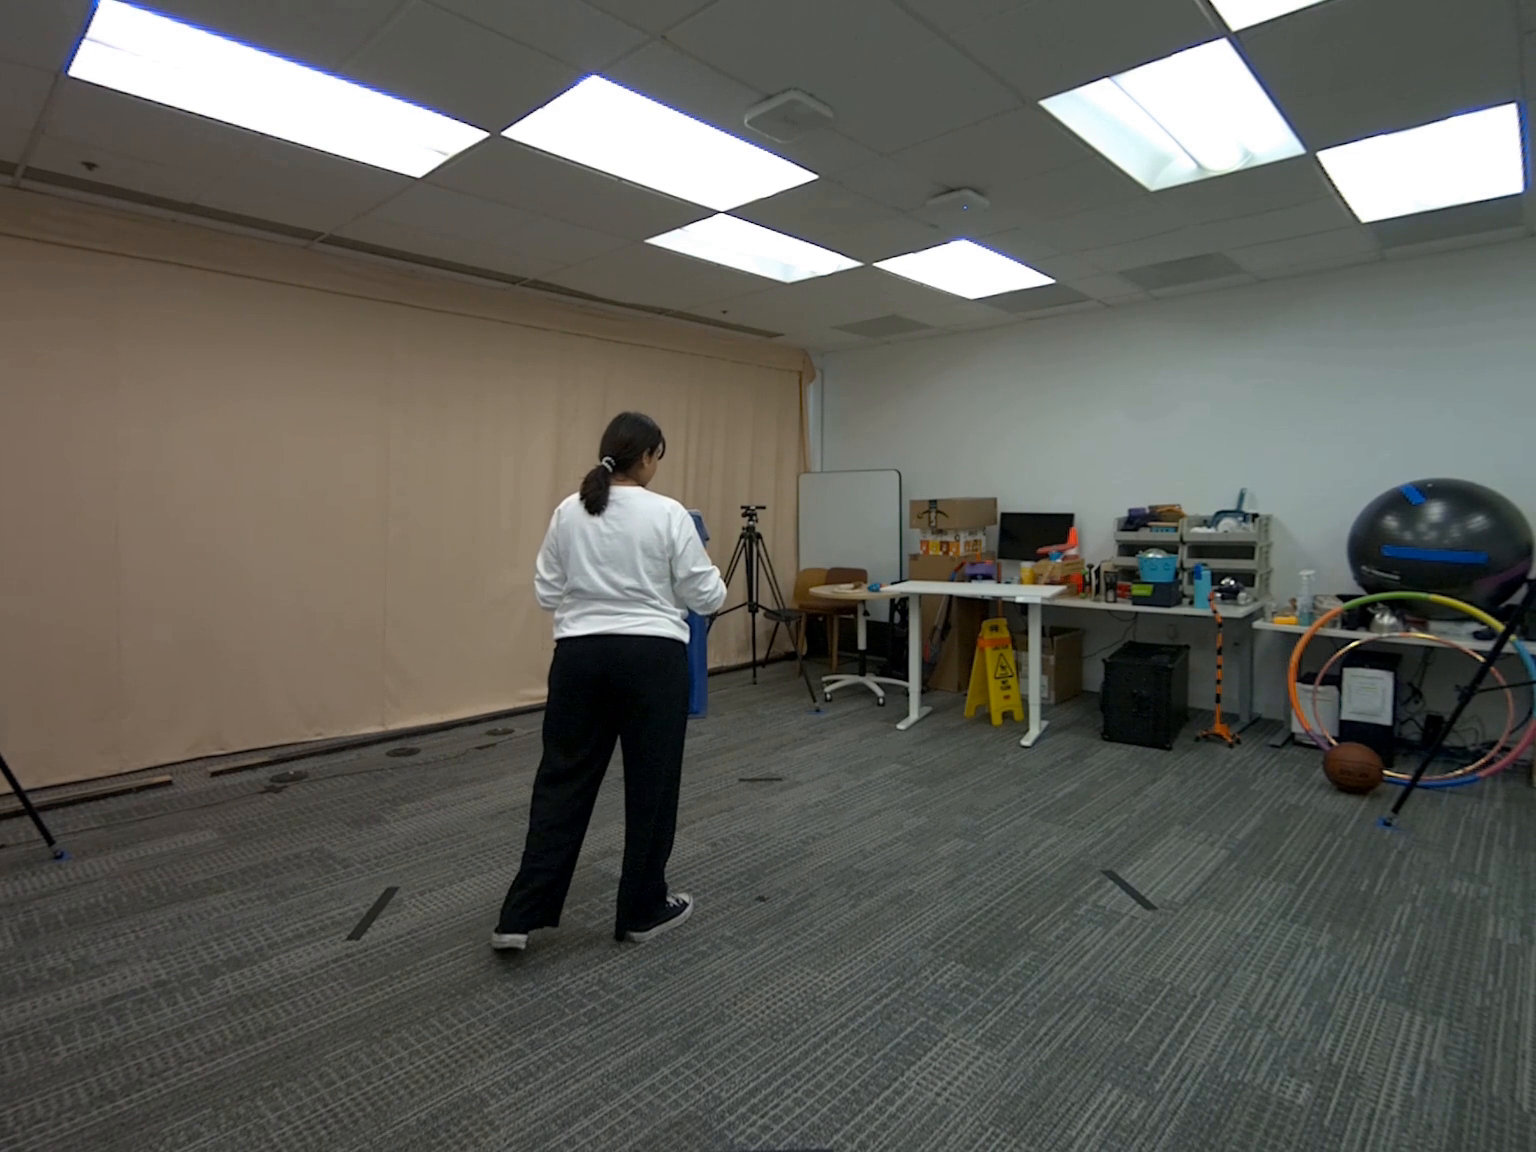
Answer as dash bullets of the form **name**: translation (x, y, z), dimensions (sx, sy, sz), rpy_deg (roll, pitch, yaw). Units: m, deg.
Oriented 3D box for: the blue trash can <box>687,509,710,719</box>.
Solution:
- **blue trash can**: translation (-0.401, 0.157, 3.092), dimensions (0.380, 0.720, 0.369), rpy_deg (-2, -14, 4)
